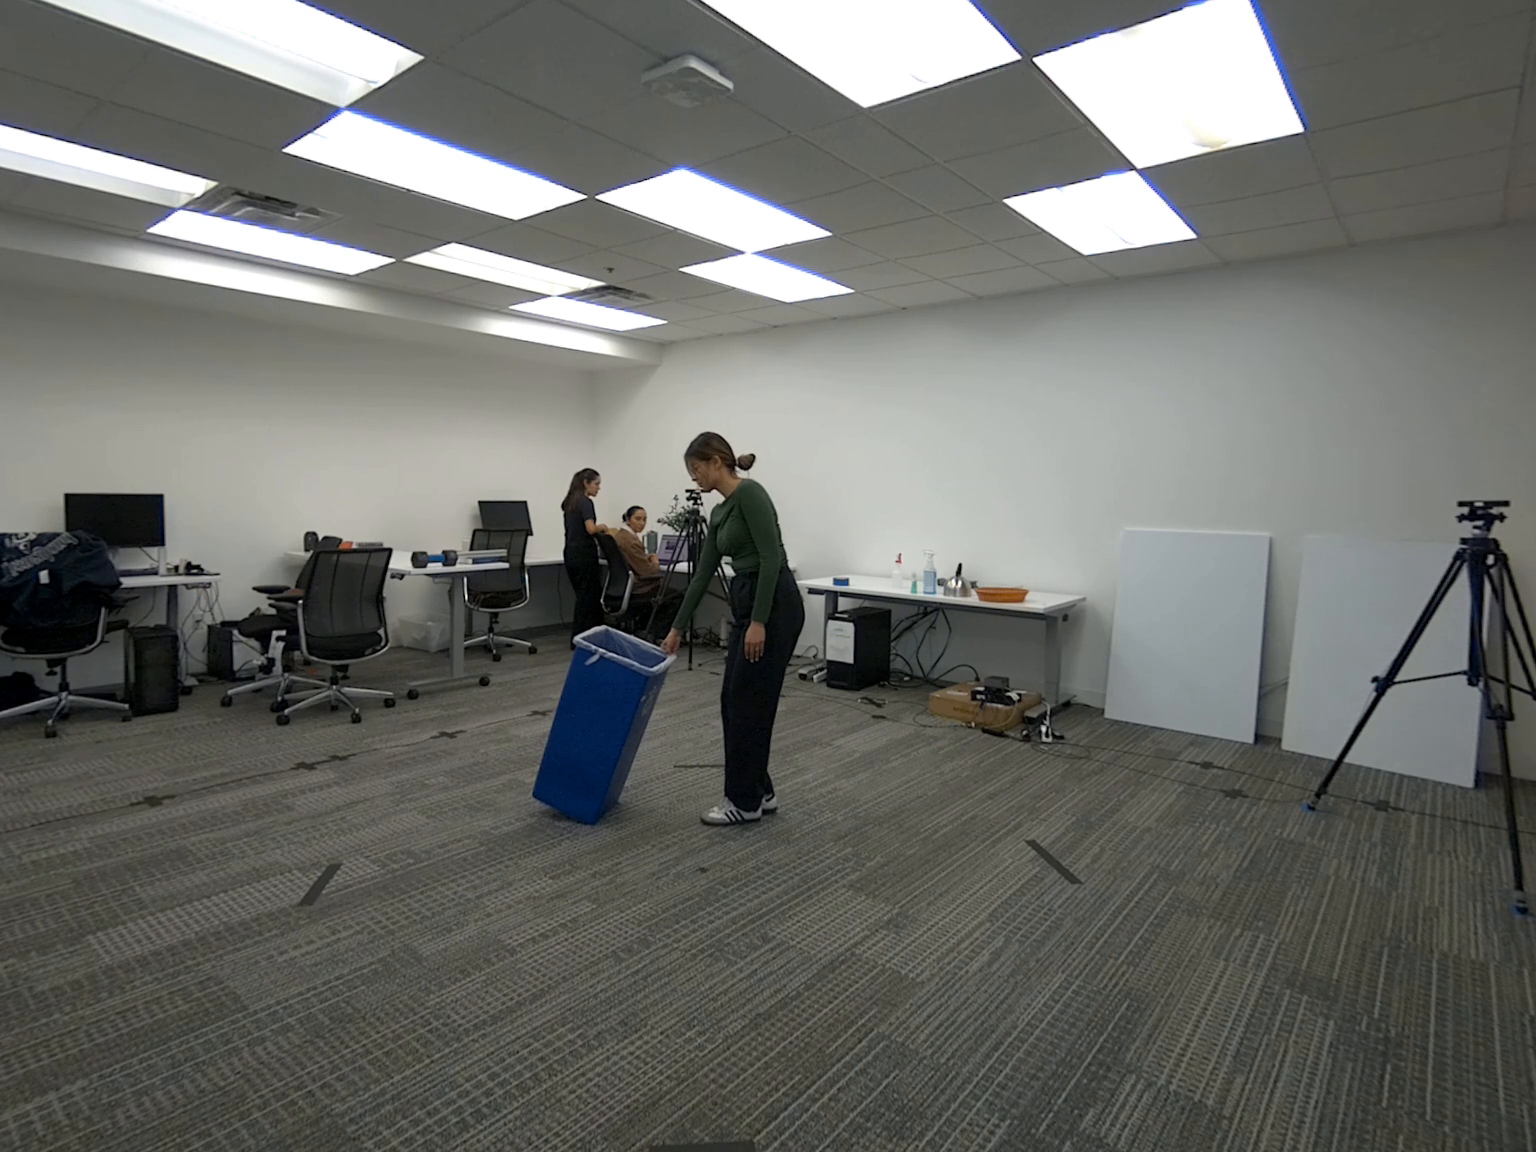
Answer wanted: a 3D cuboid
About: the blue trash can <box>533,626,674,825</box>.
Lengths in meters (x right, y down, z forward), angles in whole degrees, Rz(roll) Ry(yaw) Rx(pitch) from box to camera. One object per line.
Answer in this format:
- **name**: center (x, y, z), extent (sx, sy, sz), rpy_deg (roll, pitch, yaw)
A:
- **blue trash can**: center (-0.733, 0.628, 3.642), extent (0.379, 0.711, 0.374), rpy_deg (21, 7, 9)
